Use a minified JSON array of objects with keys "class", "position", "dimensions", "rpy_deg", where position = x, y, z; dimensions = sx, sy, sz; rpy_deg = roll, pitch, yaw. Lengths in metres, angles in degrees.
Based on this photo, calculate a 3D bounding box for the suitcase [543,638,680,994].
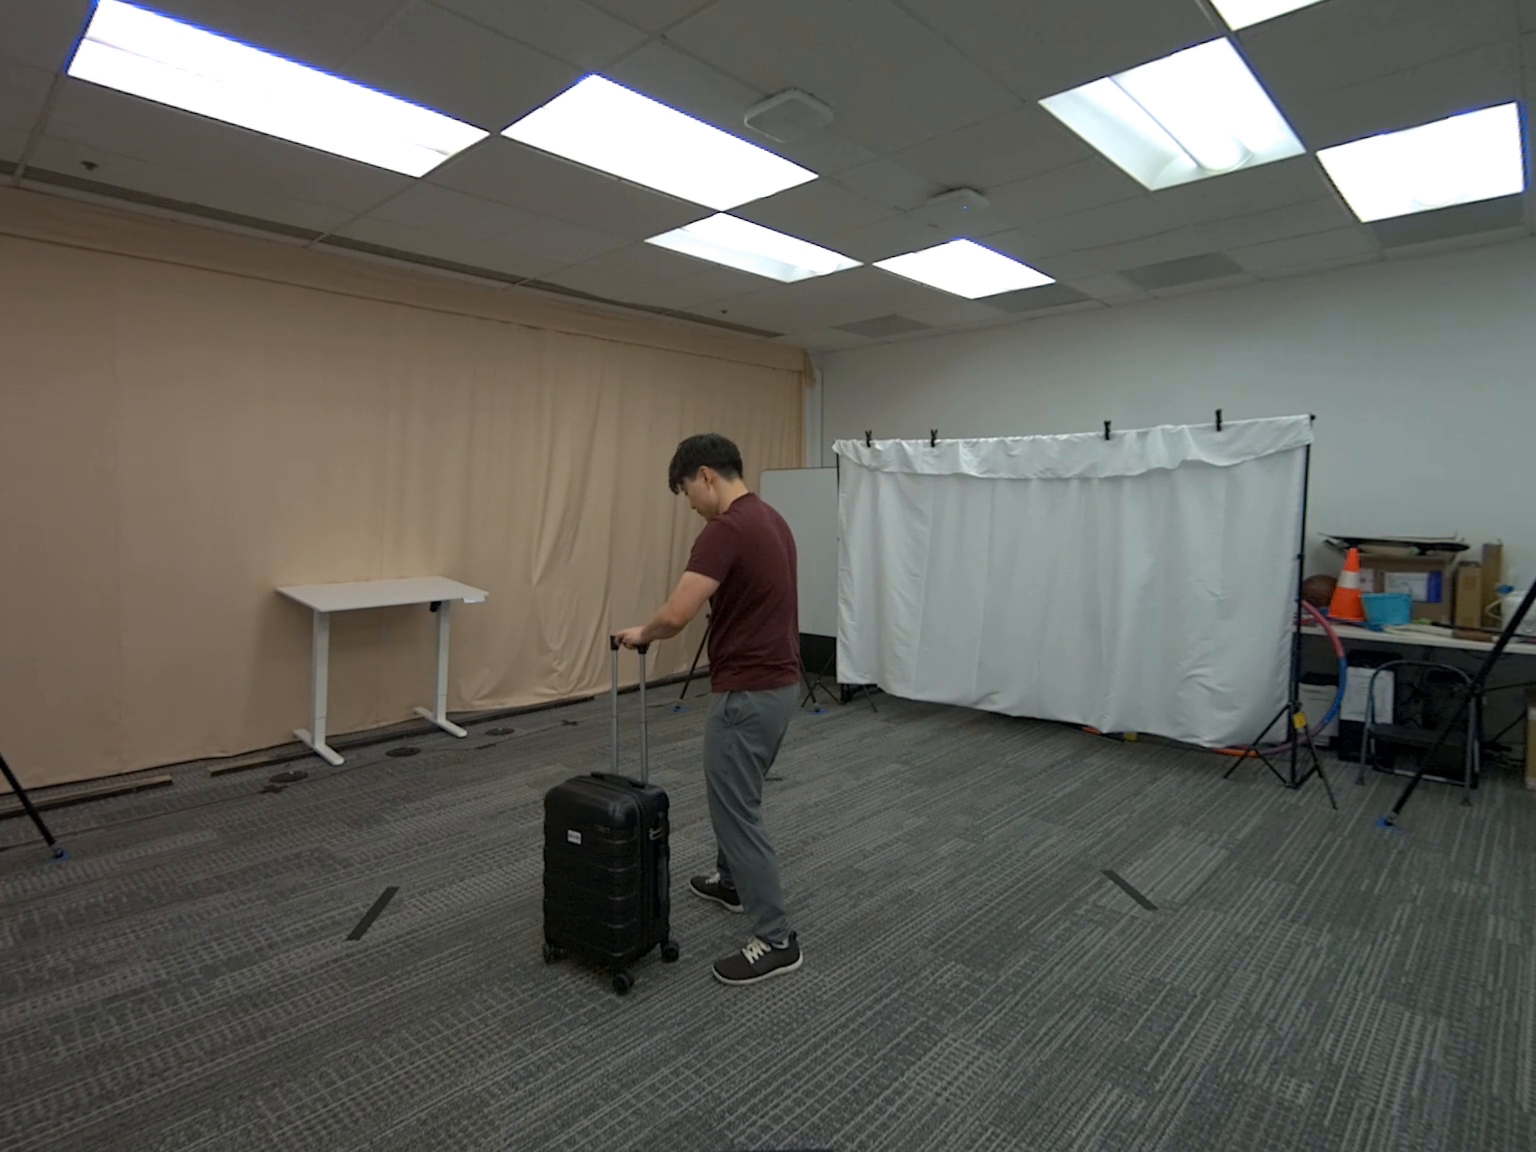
[{"class":"suitcase","position":[-0.499,0.705,2.576],"dimensions":[0.396,0.977,0.249],"rpy_deg":[0,2,35]}]
